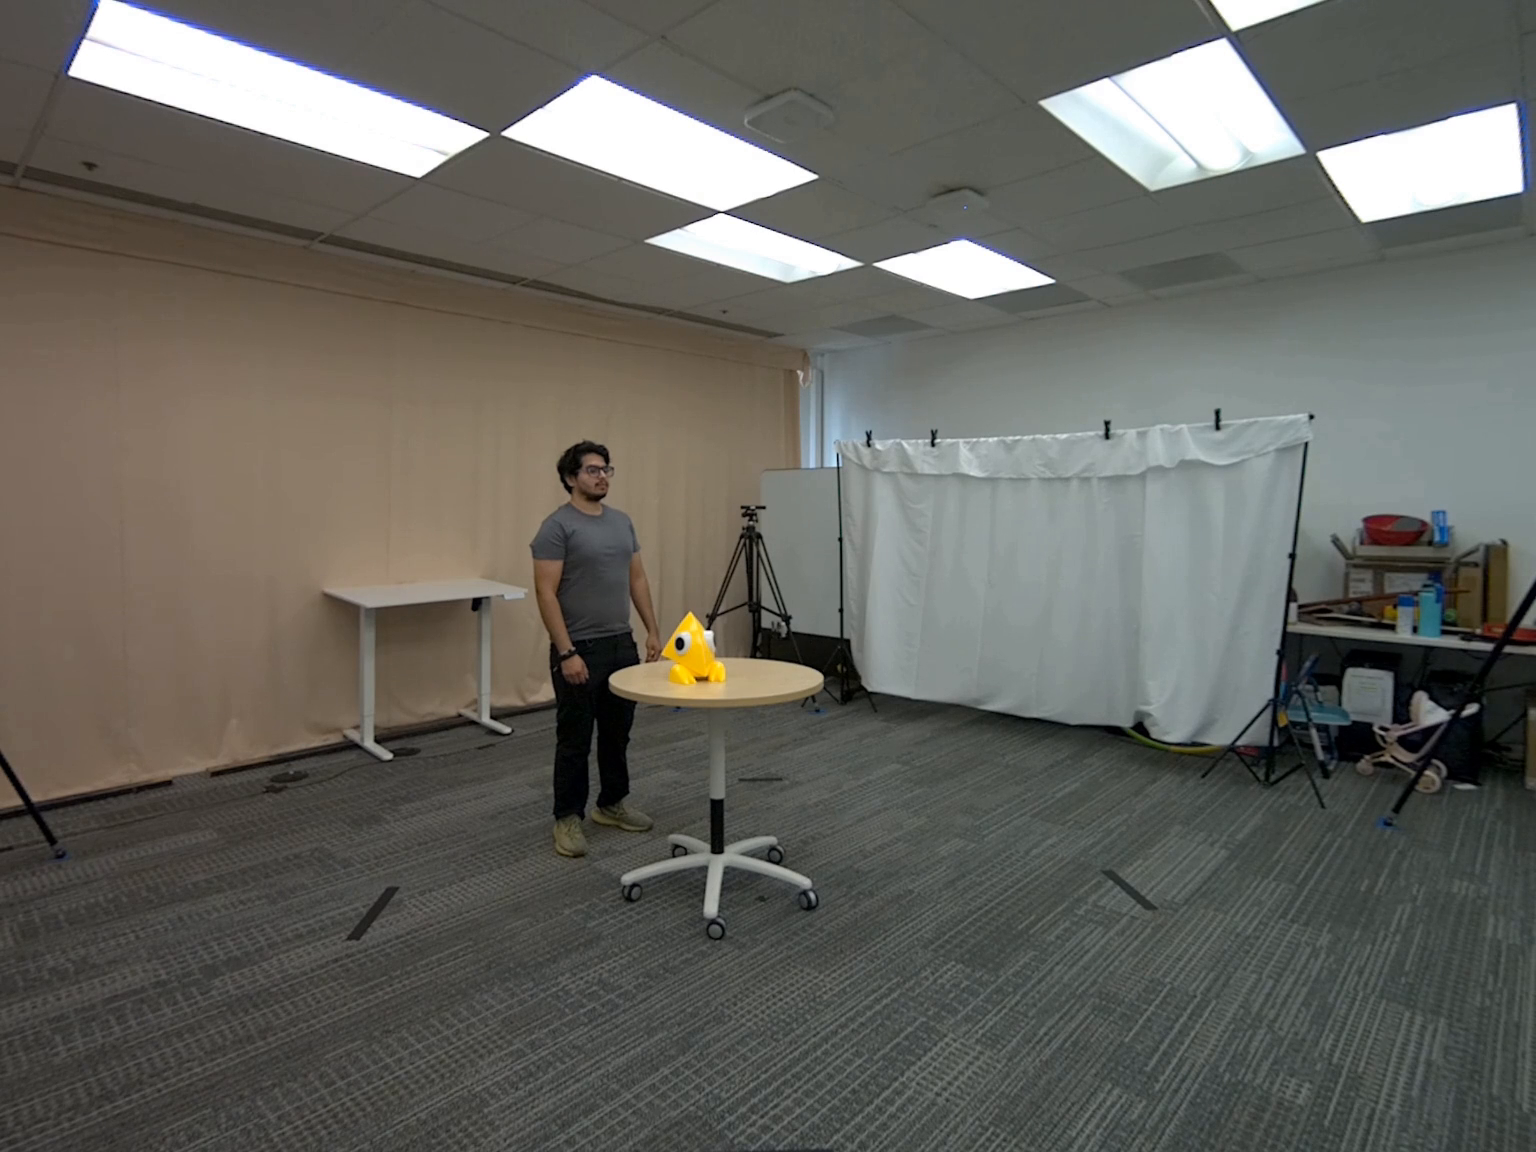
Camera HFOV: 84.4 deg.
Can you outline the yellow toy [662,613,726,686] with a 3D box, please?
[{"bbox_3d":[-0.250,0.250,2.971,0.200,0.230,0.198,-1,4,-23],"label":"yellow toy"}]
